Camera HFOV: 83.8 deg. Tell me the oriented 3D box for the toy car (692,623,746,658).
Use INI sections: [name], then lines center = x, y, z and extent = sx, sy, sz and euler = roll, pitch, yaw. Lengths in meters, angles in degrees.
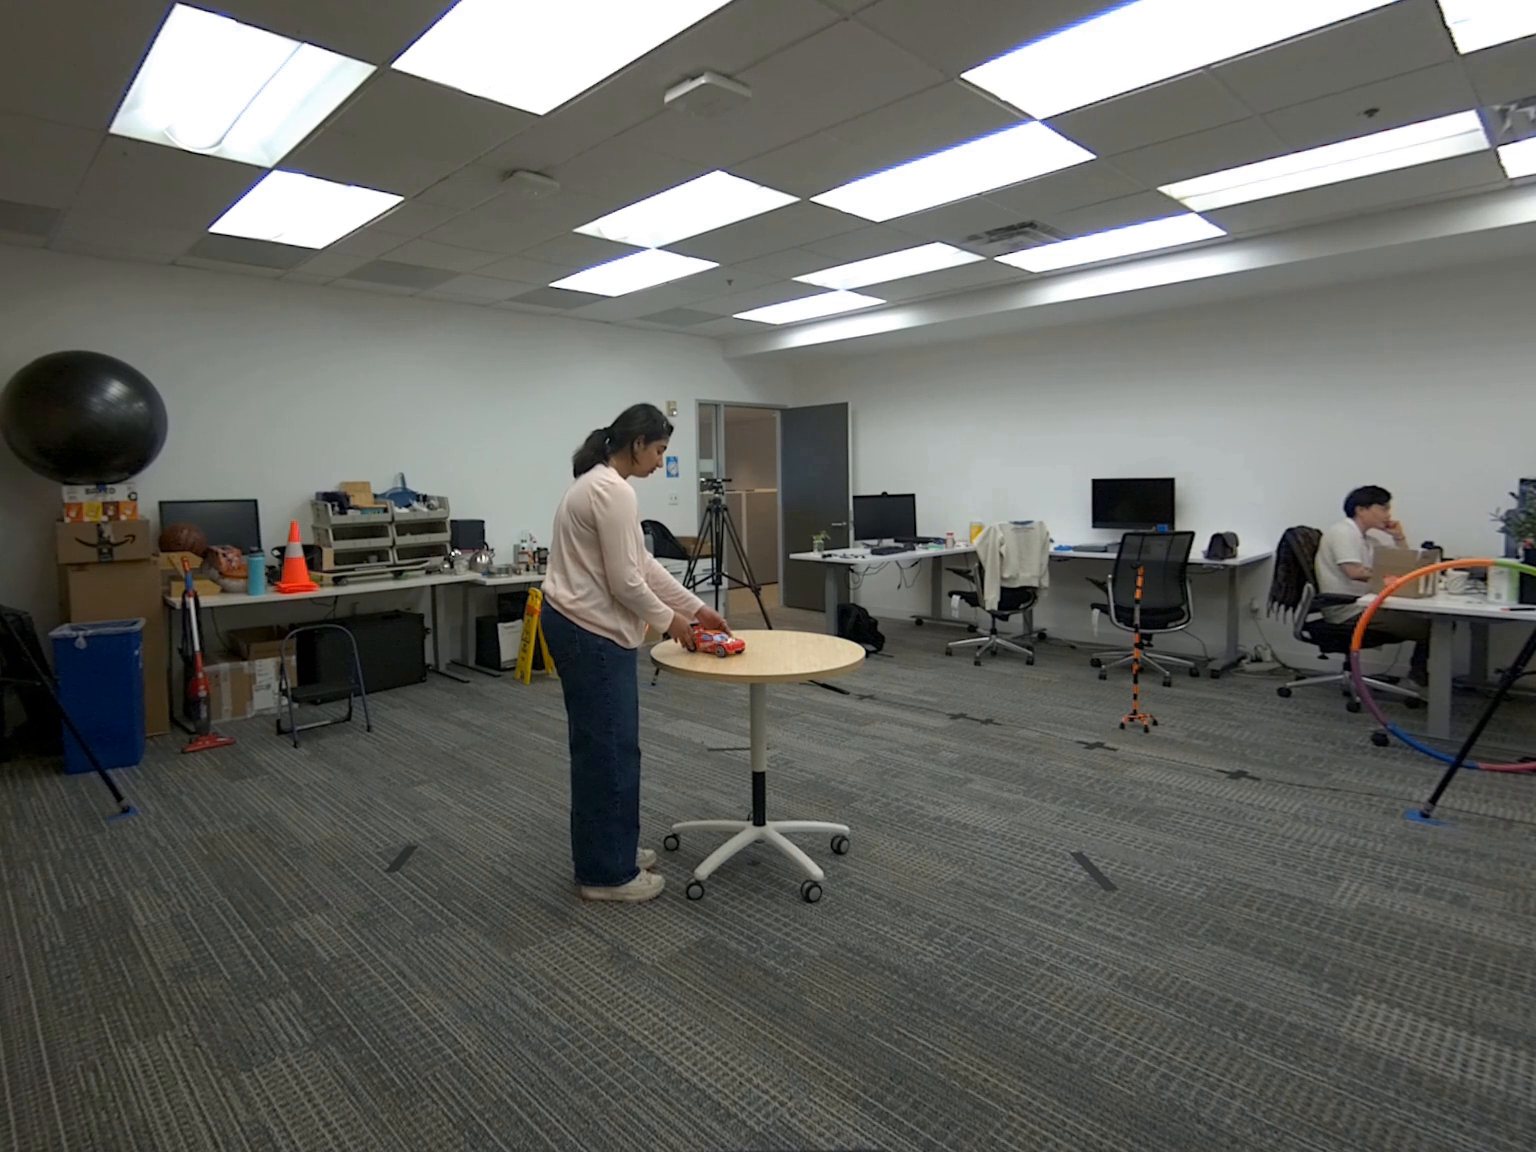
[toy car]
center = -0.201, 0.235, 3.045
extent = 0.264, 0.082, 0.127
euler = 18, 16, 39
